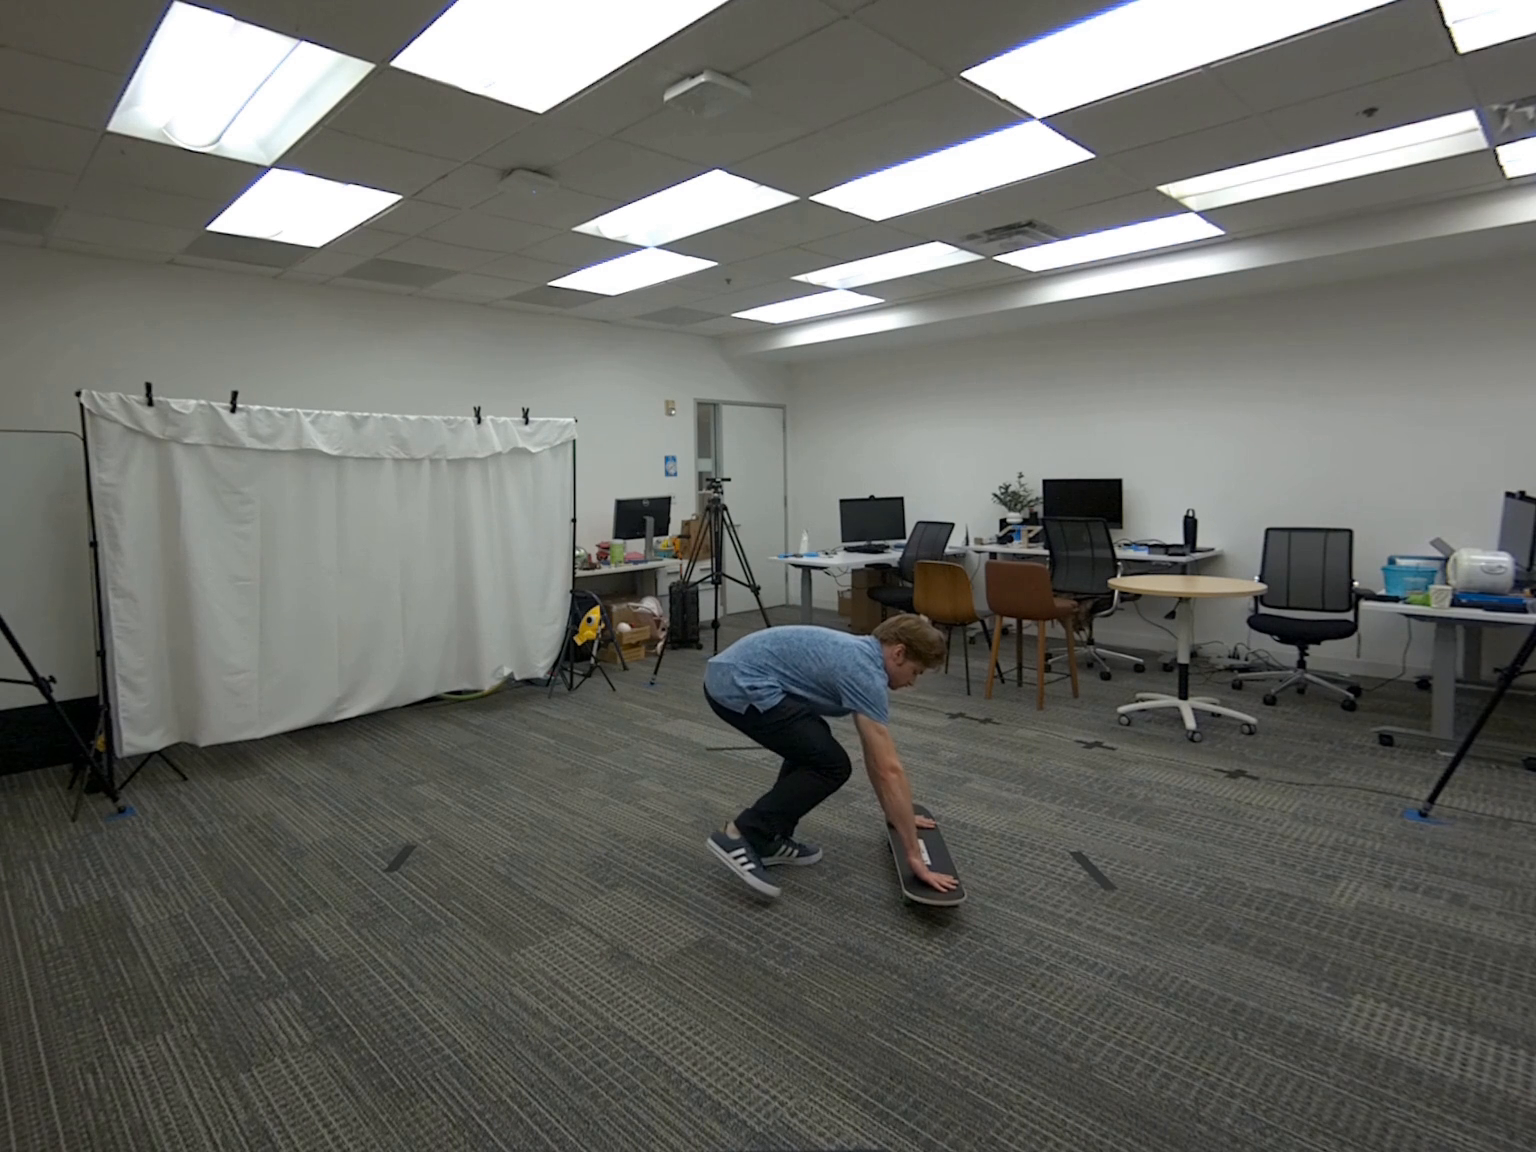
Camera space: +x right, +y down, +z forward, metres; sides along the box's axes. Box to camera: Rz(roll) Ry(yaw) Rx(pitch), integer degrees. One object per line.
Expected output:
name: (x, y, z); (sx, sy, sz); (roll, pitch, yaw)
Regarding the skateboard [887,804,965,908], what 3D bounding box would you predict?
skateboard: (0.528, 0.983, 2.968); (0.194, 0.110, 0.787); (2, 7, 1)
